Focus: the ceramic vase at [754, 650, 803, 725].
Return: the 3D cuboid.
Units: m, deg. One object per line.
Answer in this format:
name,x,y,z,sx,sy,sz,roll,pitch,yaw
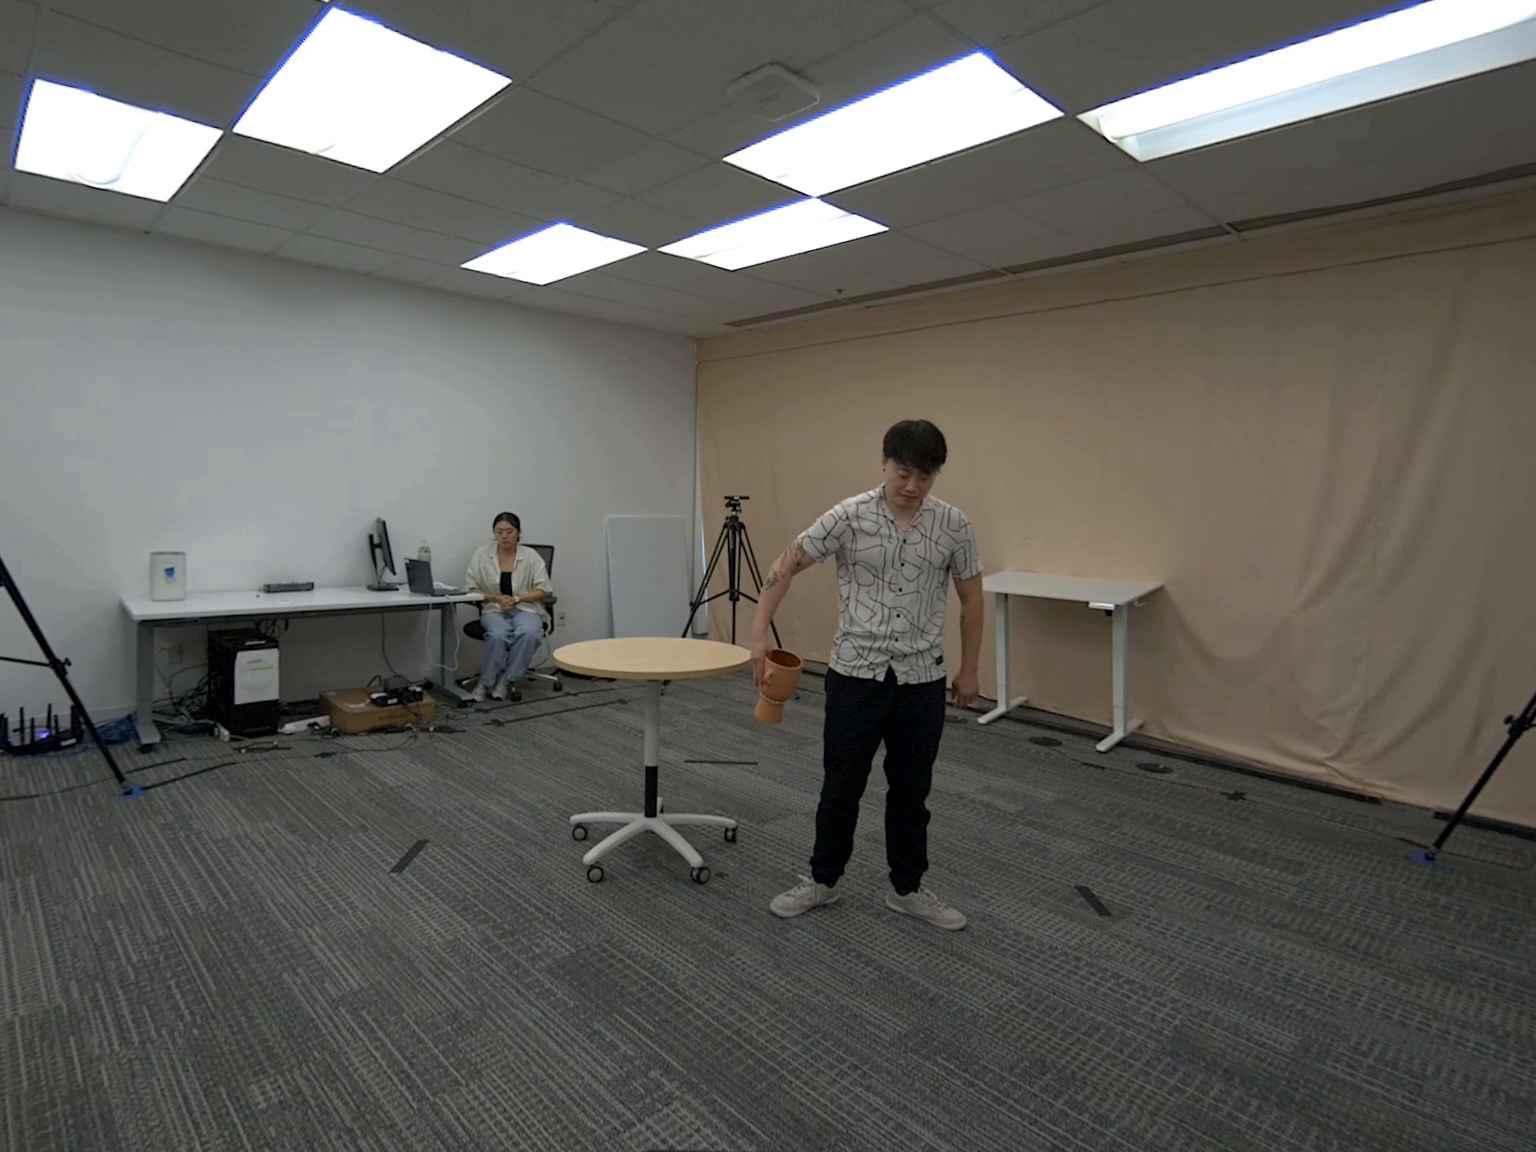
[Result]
ceramic vase,0.026,0.359,2.763,0.156,0.218,0.138,6,18,-23
